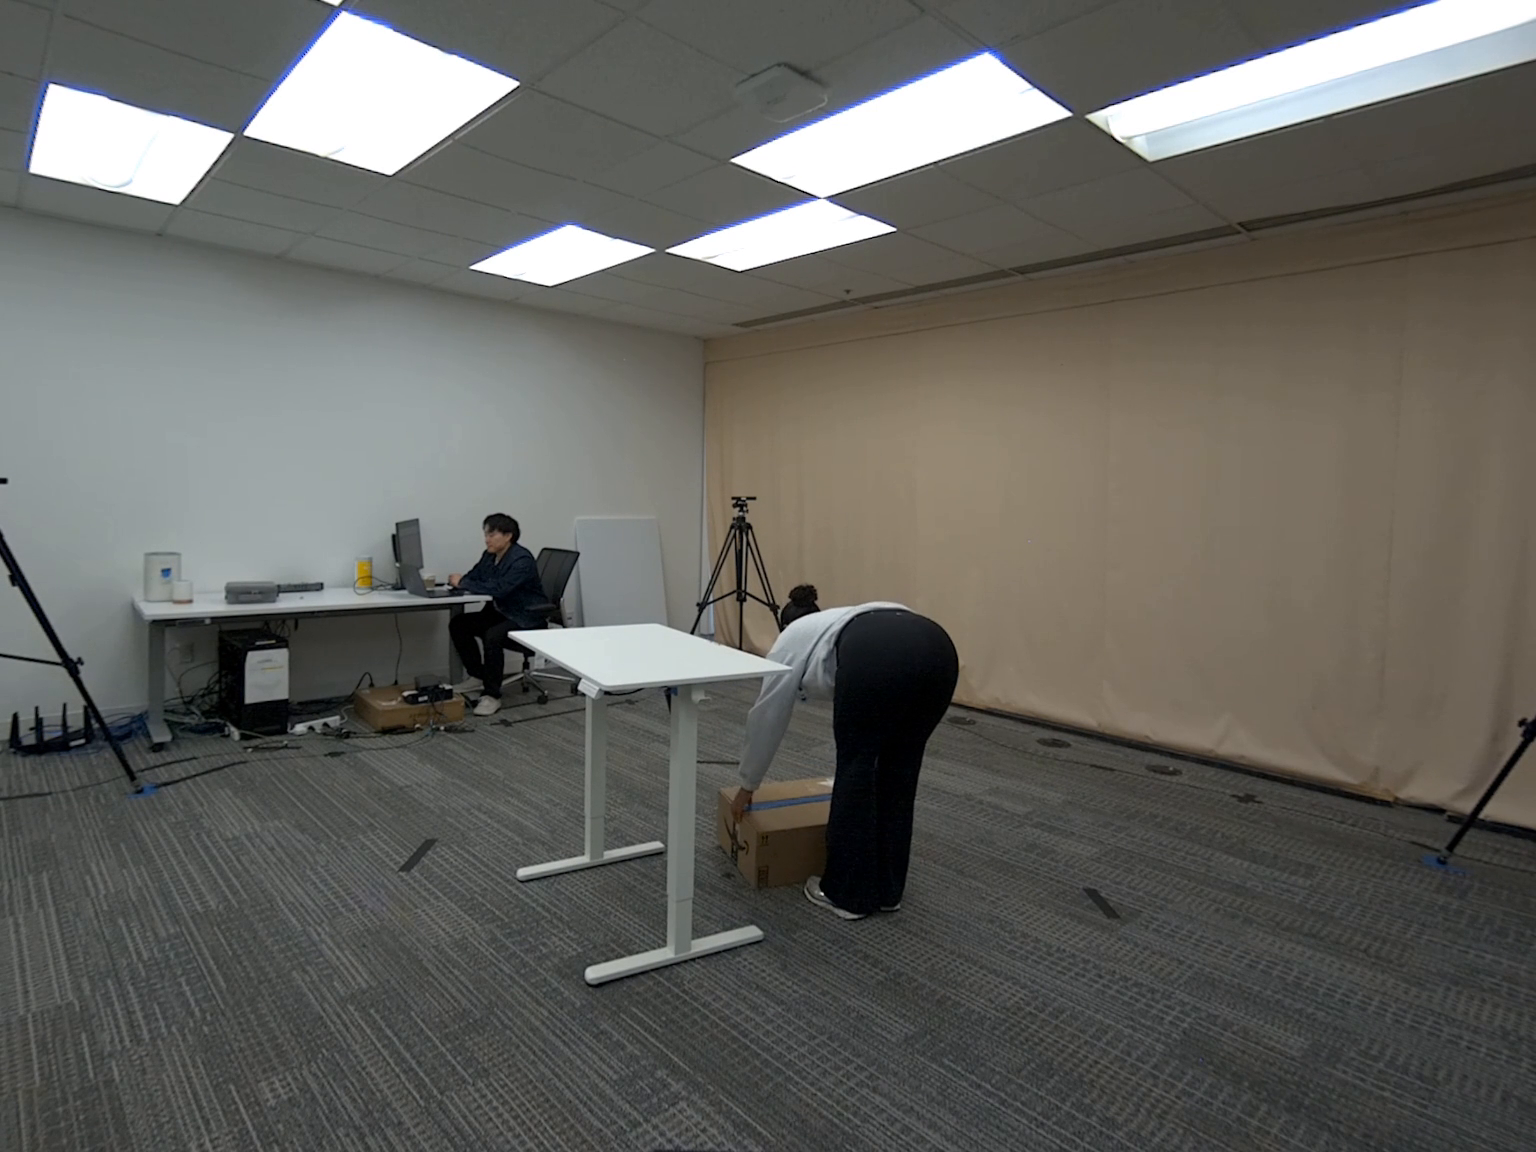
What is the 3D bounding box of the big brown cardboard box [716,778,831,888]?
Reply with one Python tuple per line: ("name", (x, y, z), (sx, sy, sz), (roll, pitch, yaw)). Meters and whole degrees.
("big brown cardboard box", (0.132, 0.975, 3.274), (0.579, 0.232, 0.426), (-1, 7, -22))
